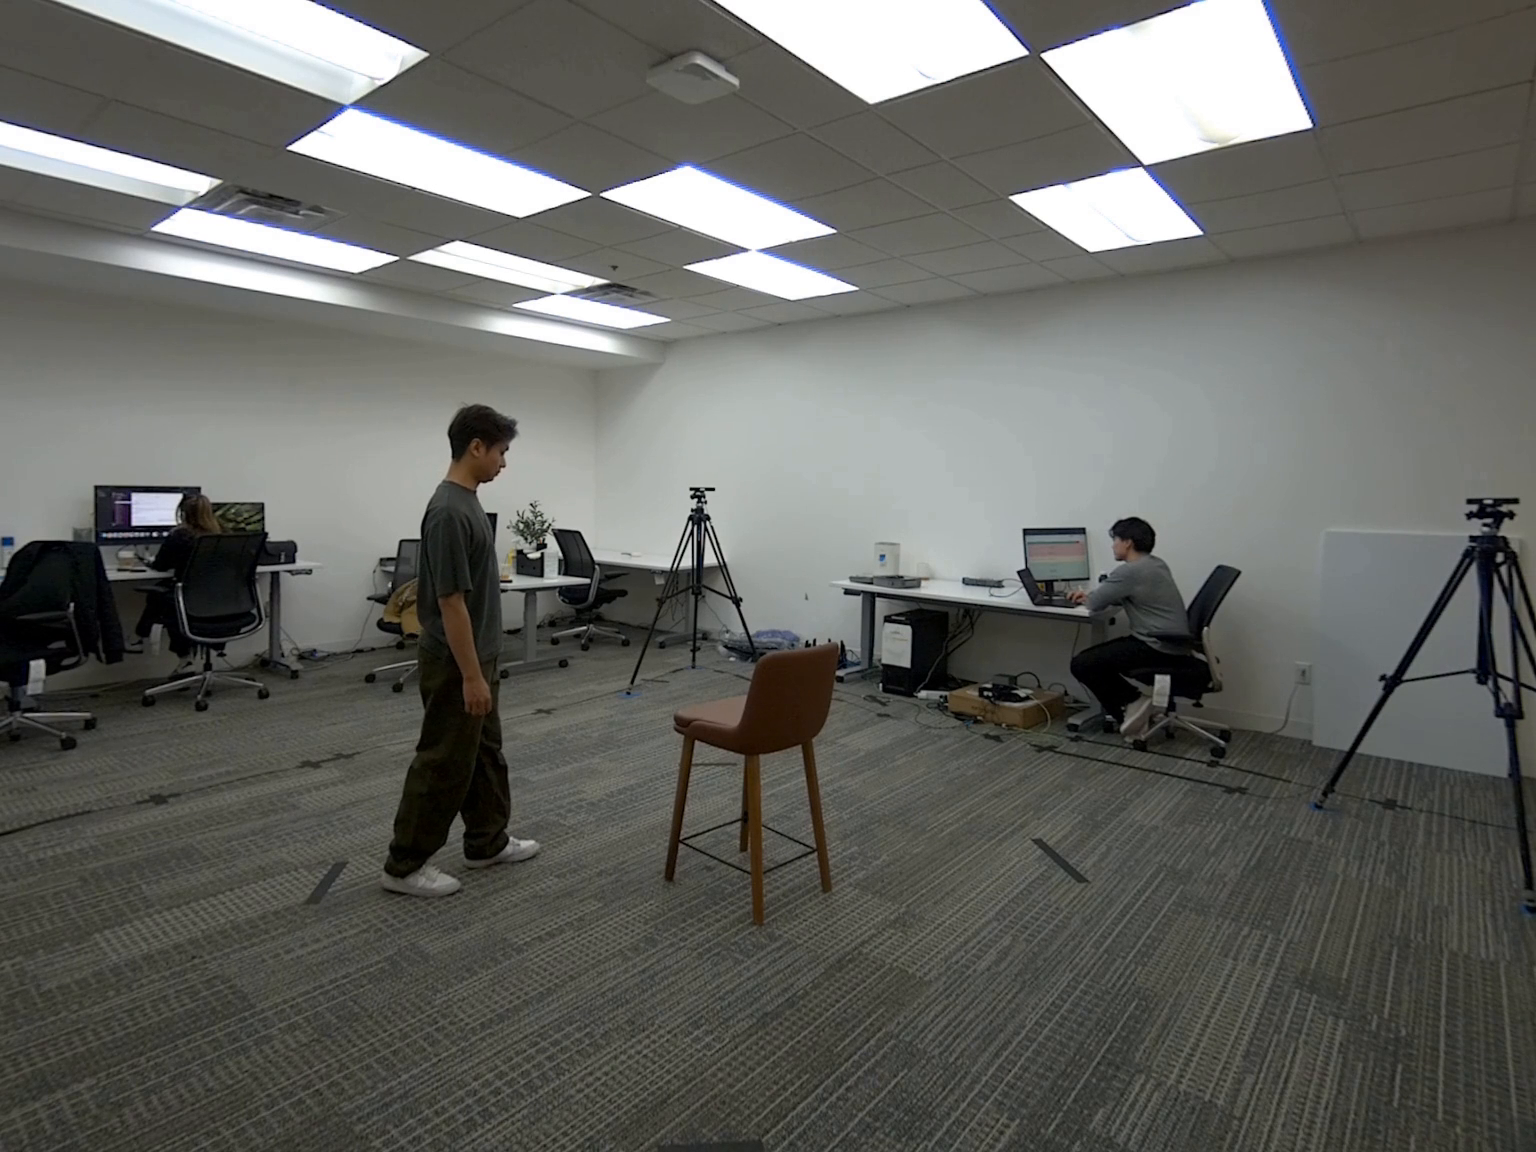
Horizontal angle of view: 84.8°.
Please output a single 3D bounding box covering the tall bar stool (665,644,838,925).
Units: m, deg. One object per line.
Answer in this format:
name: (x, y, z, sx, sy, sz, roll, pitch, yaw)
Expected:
tall bar stool: (-0.058, 0.651, 2.962, 0.484, 0.886, 0.442, 7, 6, 44)
